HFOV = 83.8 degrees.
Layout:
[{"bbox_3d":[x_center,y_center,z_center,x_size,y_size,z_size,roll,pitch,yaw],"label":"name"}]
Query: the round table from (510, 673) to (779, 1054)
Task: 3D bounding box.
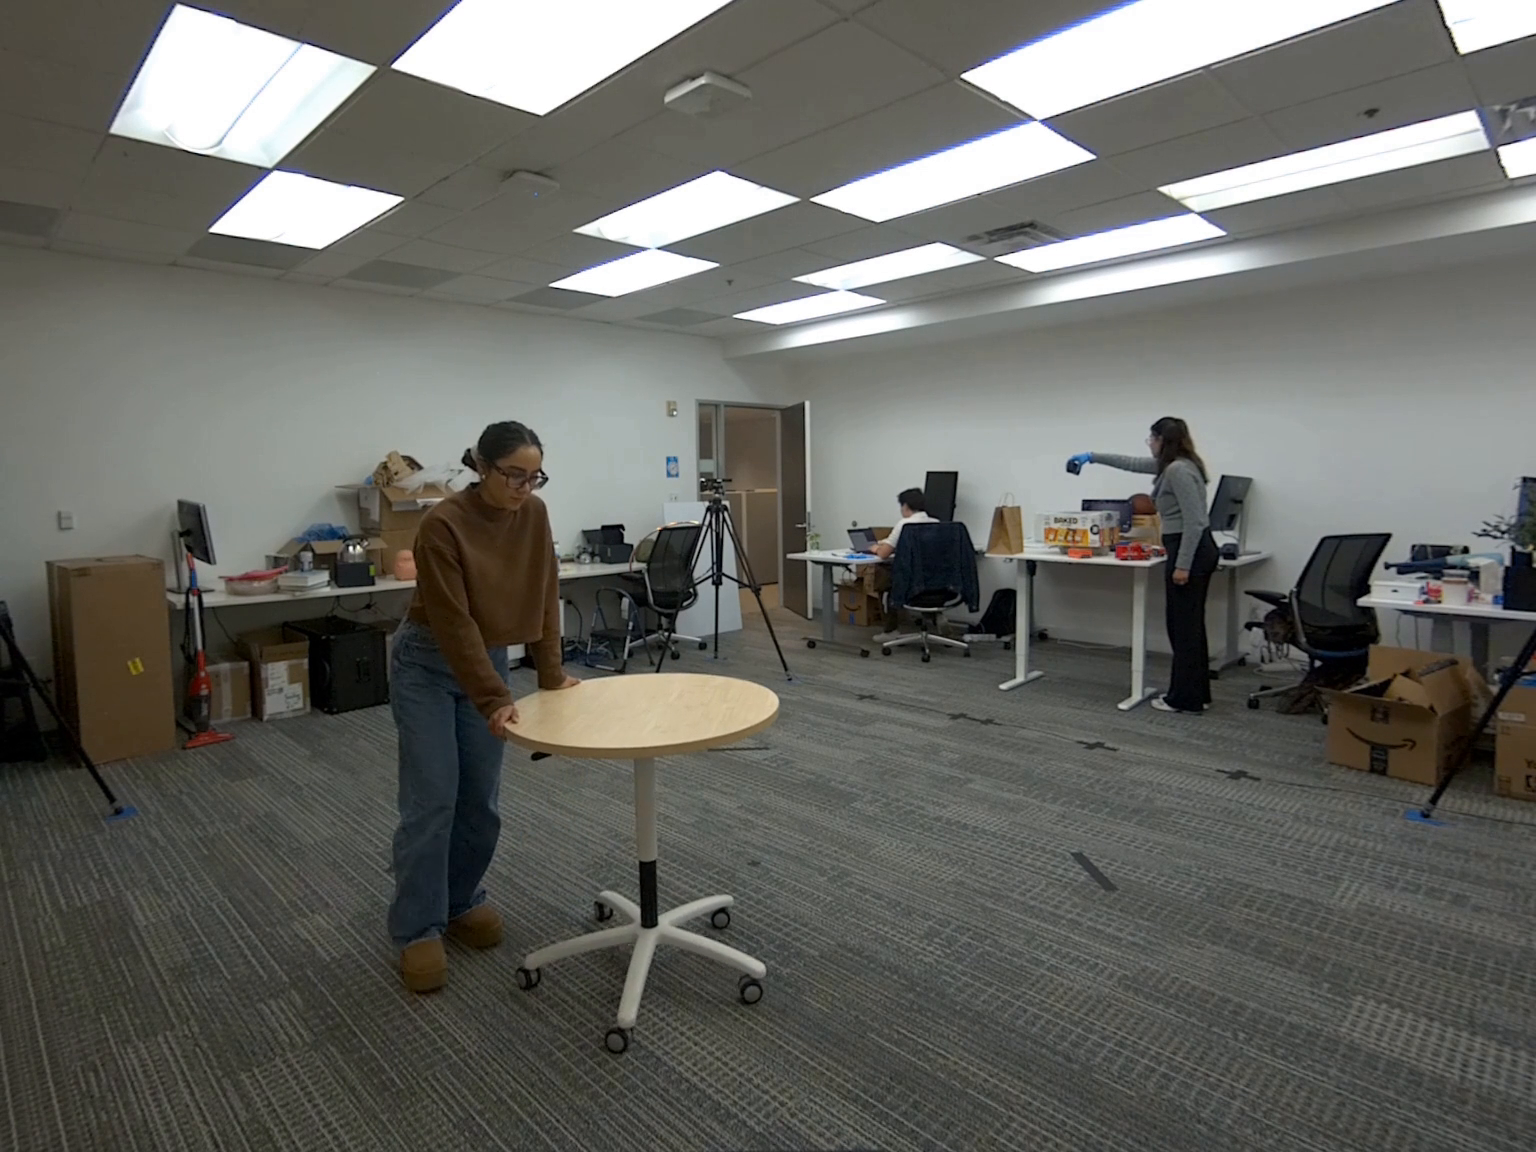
[{"bbox_3d":[-0.343,0.745,2.414,0.763,0.791,0.768,-2,5,-2],"label":"round table"}]
